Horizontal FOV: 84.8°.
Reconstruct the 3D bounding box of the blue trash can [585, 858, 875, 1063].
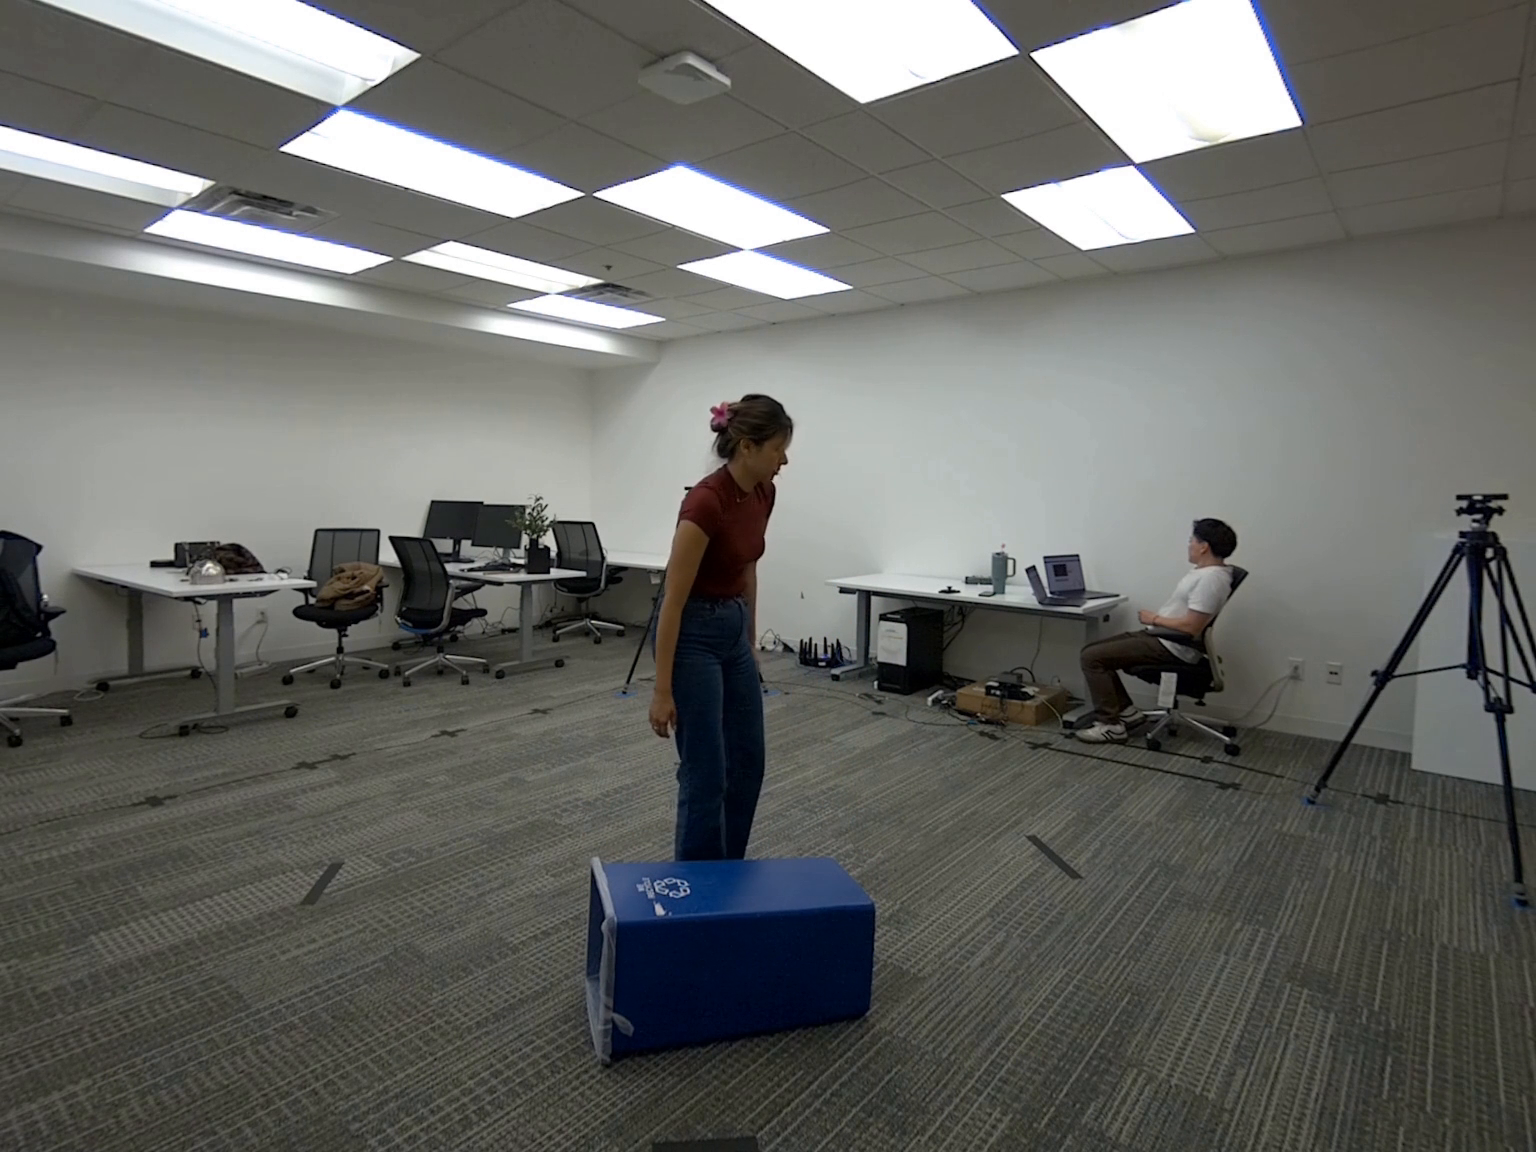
[{"bbox_3d":[-0.120,0.983,2.284,0.701,0.377,0.382,2,4,-17],"label":"blue trash can"}]
